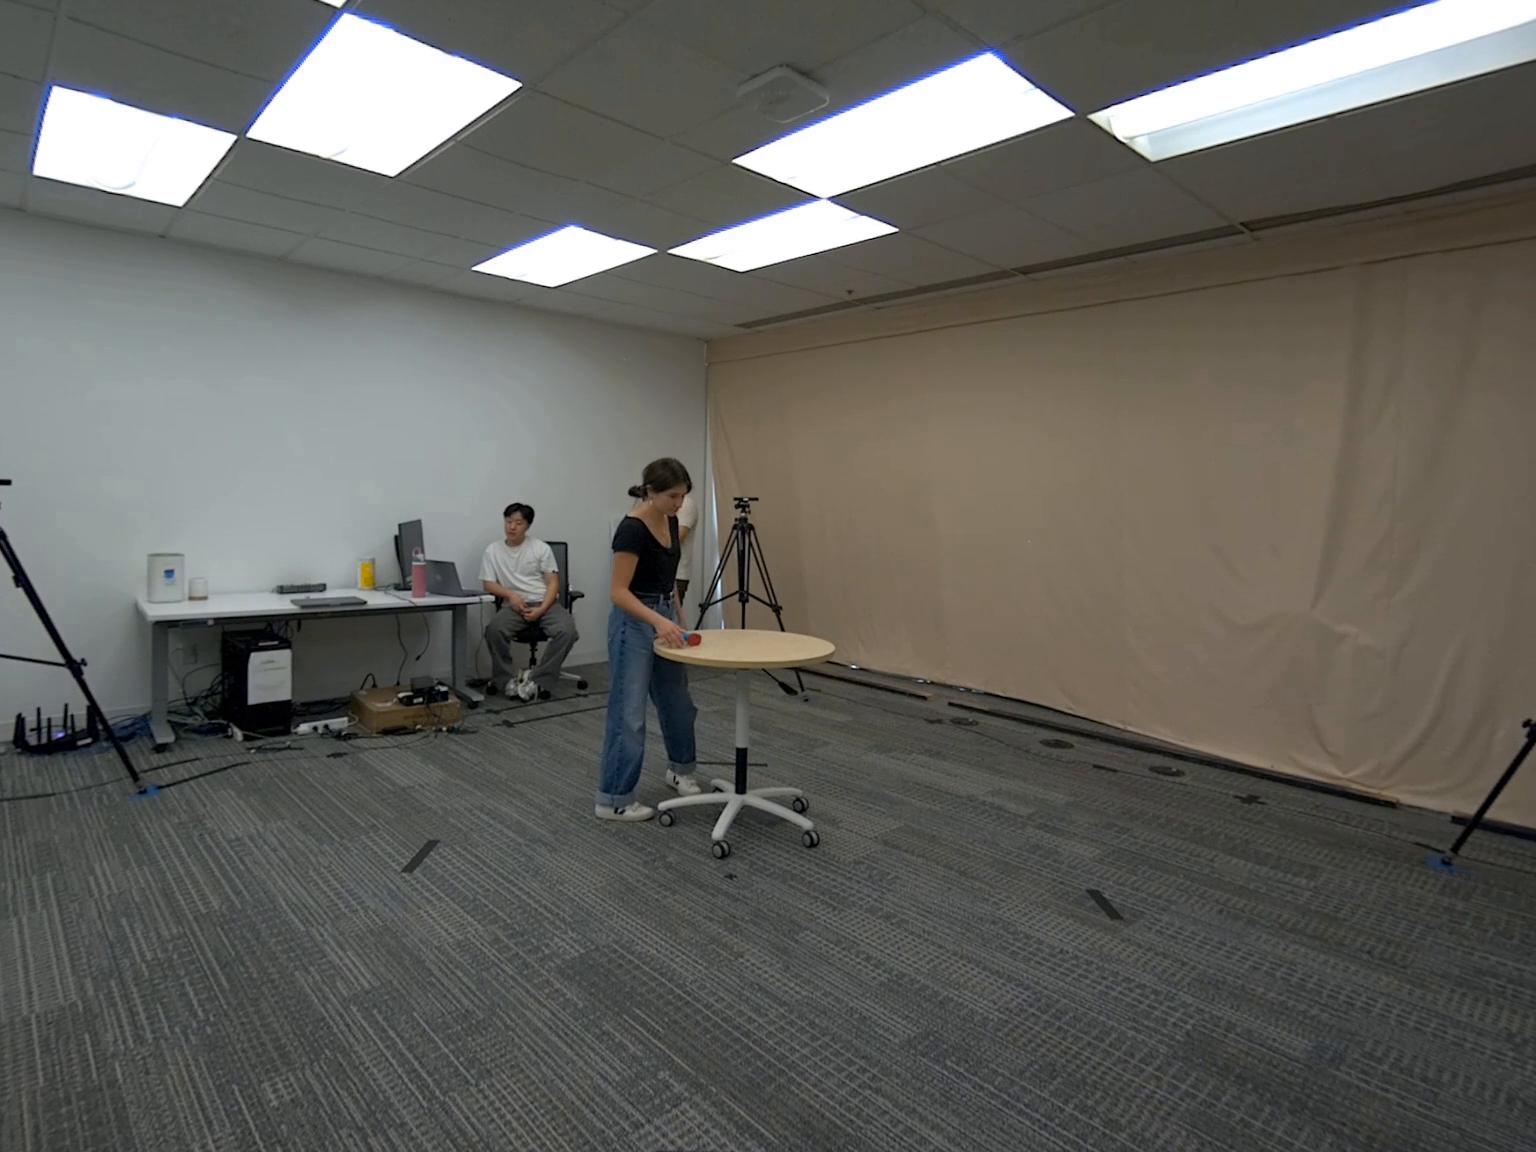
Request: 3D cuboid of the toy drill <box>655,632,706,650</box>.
[{"bbox_3d":[-0.375,0.258,3.491,0.150,0.061,0.165,4,-5,40],"label":"toy drill"}]
